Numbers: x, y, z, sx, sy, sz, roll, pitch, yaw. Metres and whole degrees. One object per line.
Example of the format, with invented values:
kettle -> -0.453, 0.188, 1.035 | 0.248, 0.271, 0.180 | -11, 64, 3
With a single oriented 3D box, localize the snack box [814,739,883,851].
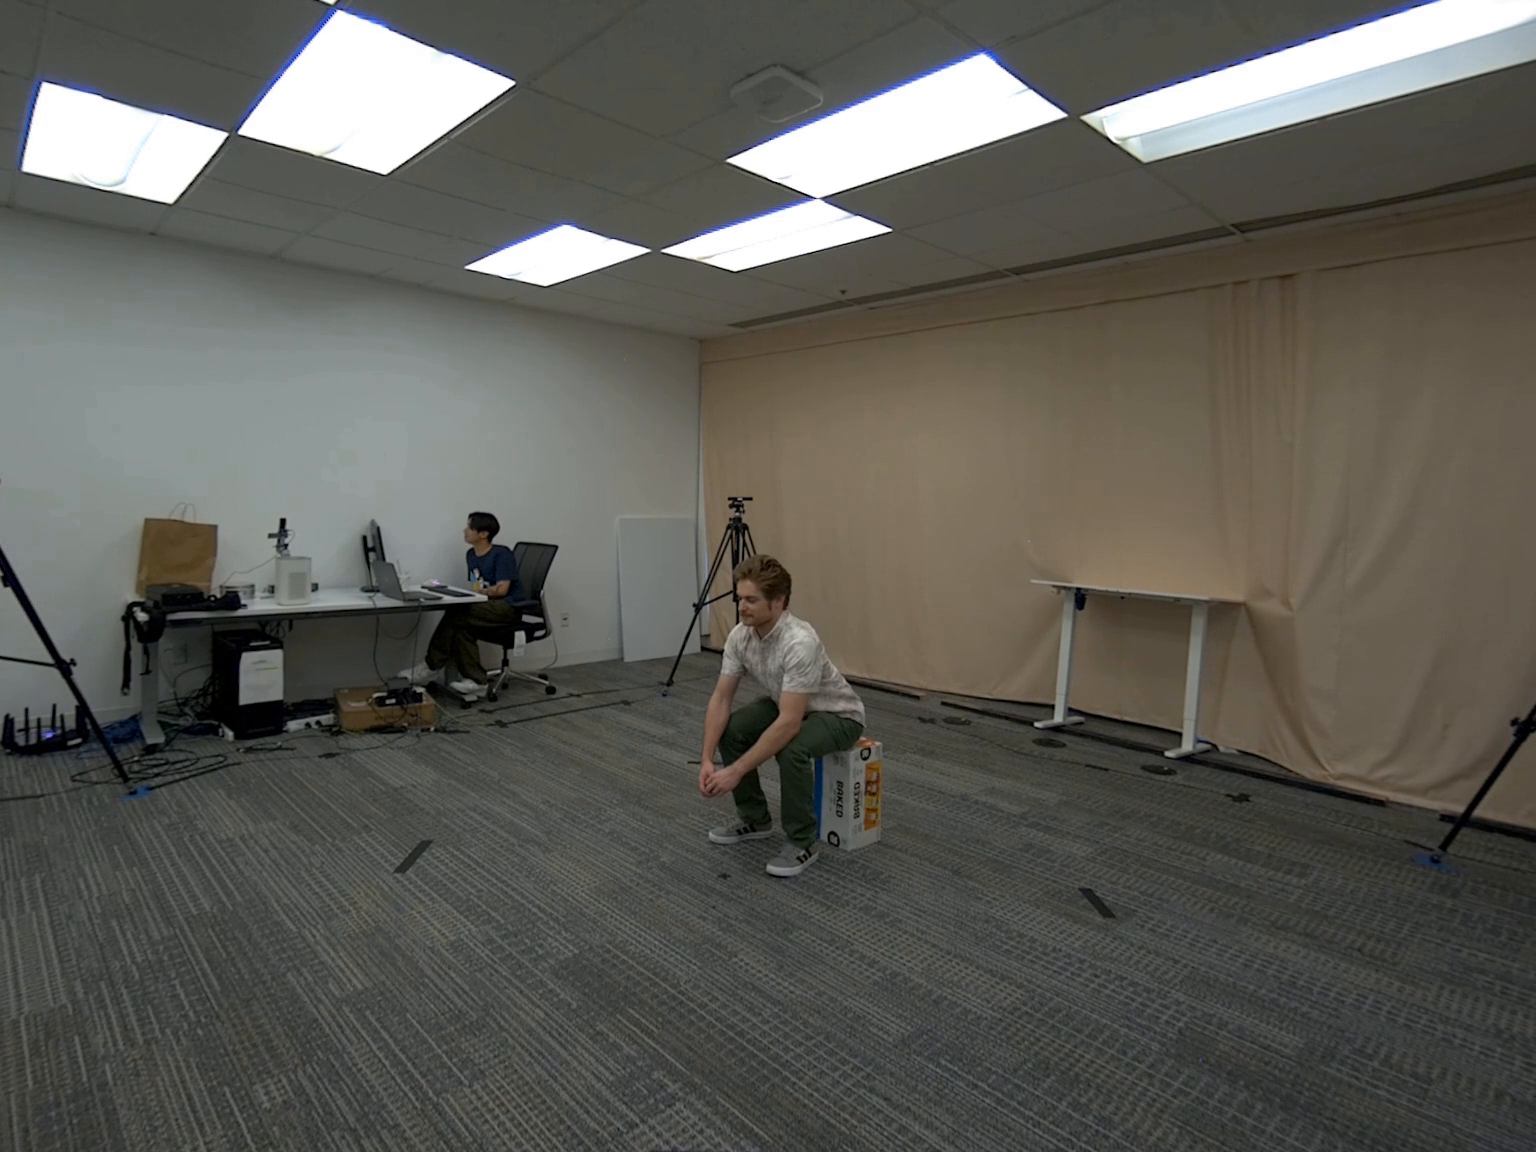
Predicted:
snack box -> 0.275, 0.880, 3.536 | 0.201, 0.404, 0.349 | -3, 5, -41
